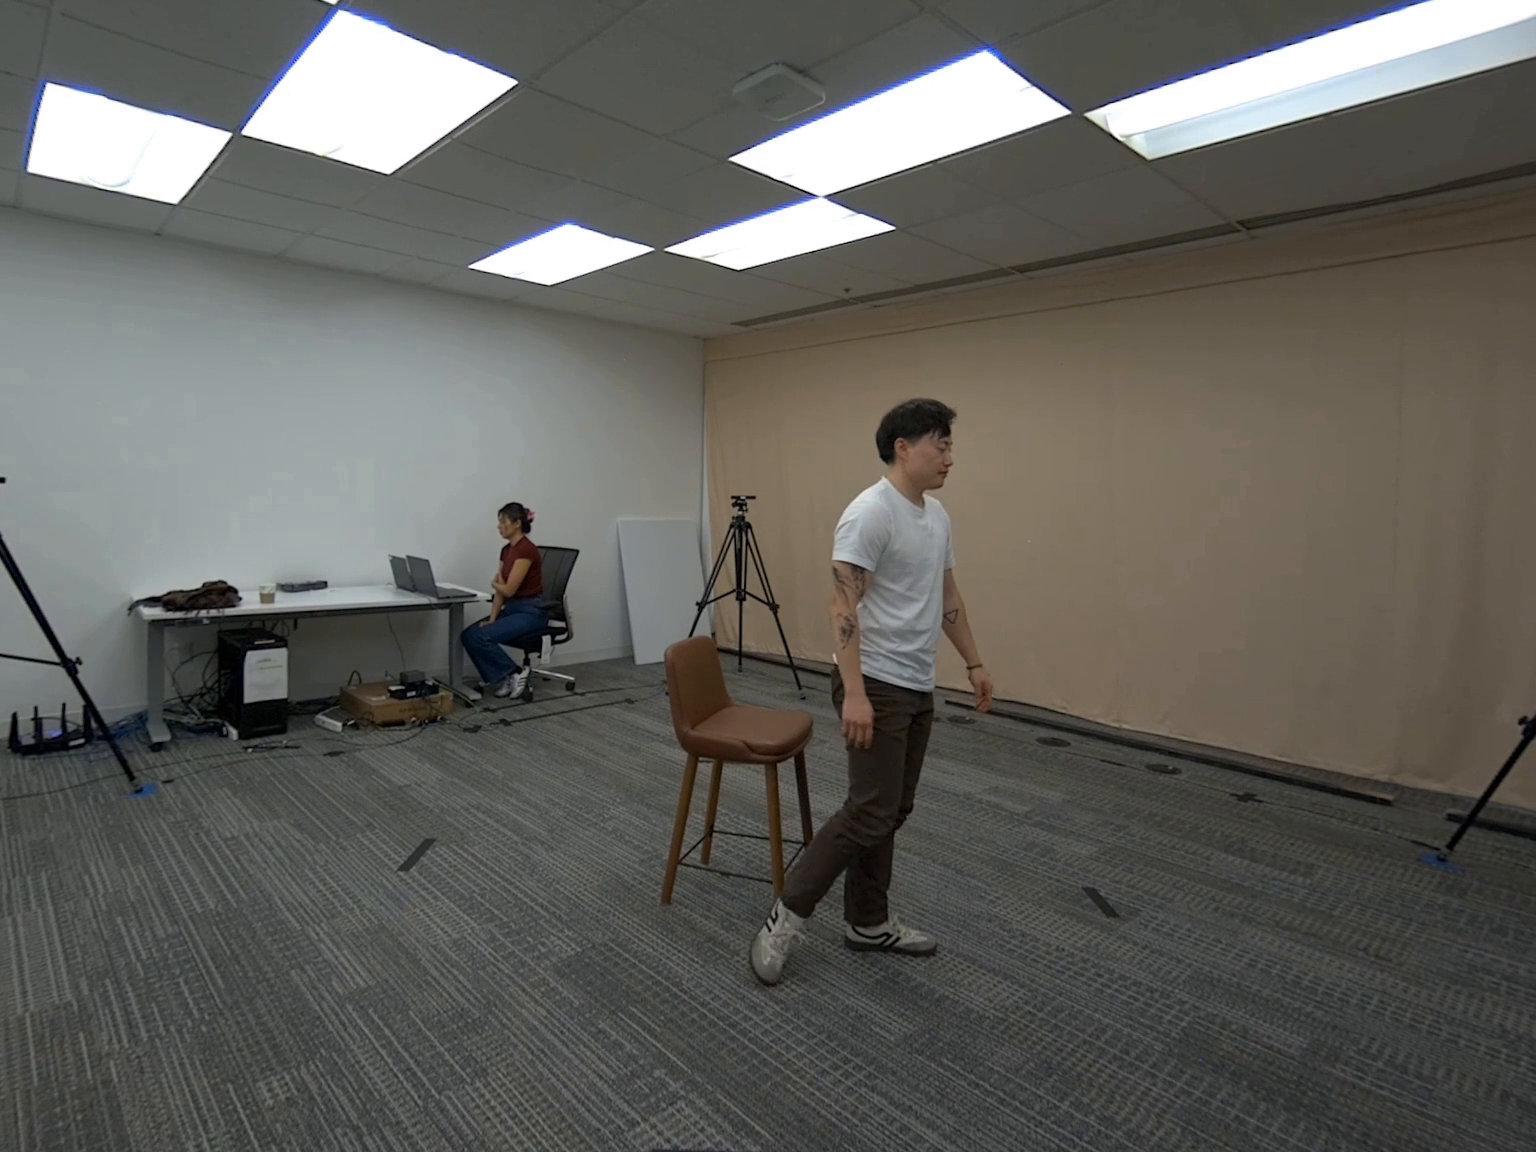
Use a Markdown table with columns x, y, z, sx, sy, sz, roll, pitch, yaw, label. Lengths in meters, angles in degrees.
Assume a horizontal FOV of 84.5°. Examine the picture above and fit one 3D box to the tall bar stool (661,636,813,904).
| x | y | z | sx | sy | sz | roll | pitch | yaw | label |
| --- | --- | --- | --- | --- | --- | --- | --- | --- | --- |
| -0.098 | 0.684 | 2.943 | 0.475 | 0.888 | 0.450 | 1 | 3 | 21 | tall bar stool |
